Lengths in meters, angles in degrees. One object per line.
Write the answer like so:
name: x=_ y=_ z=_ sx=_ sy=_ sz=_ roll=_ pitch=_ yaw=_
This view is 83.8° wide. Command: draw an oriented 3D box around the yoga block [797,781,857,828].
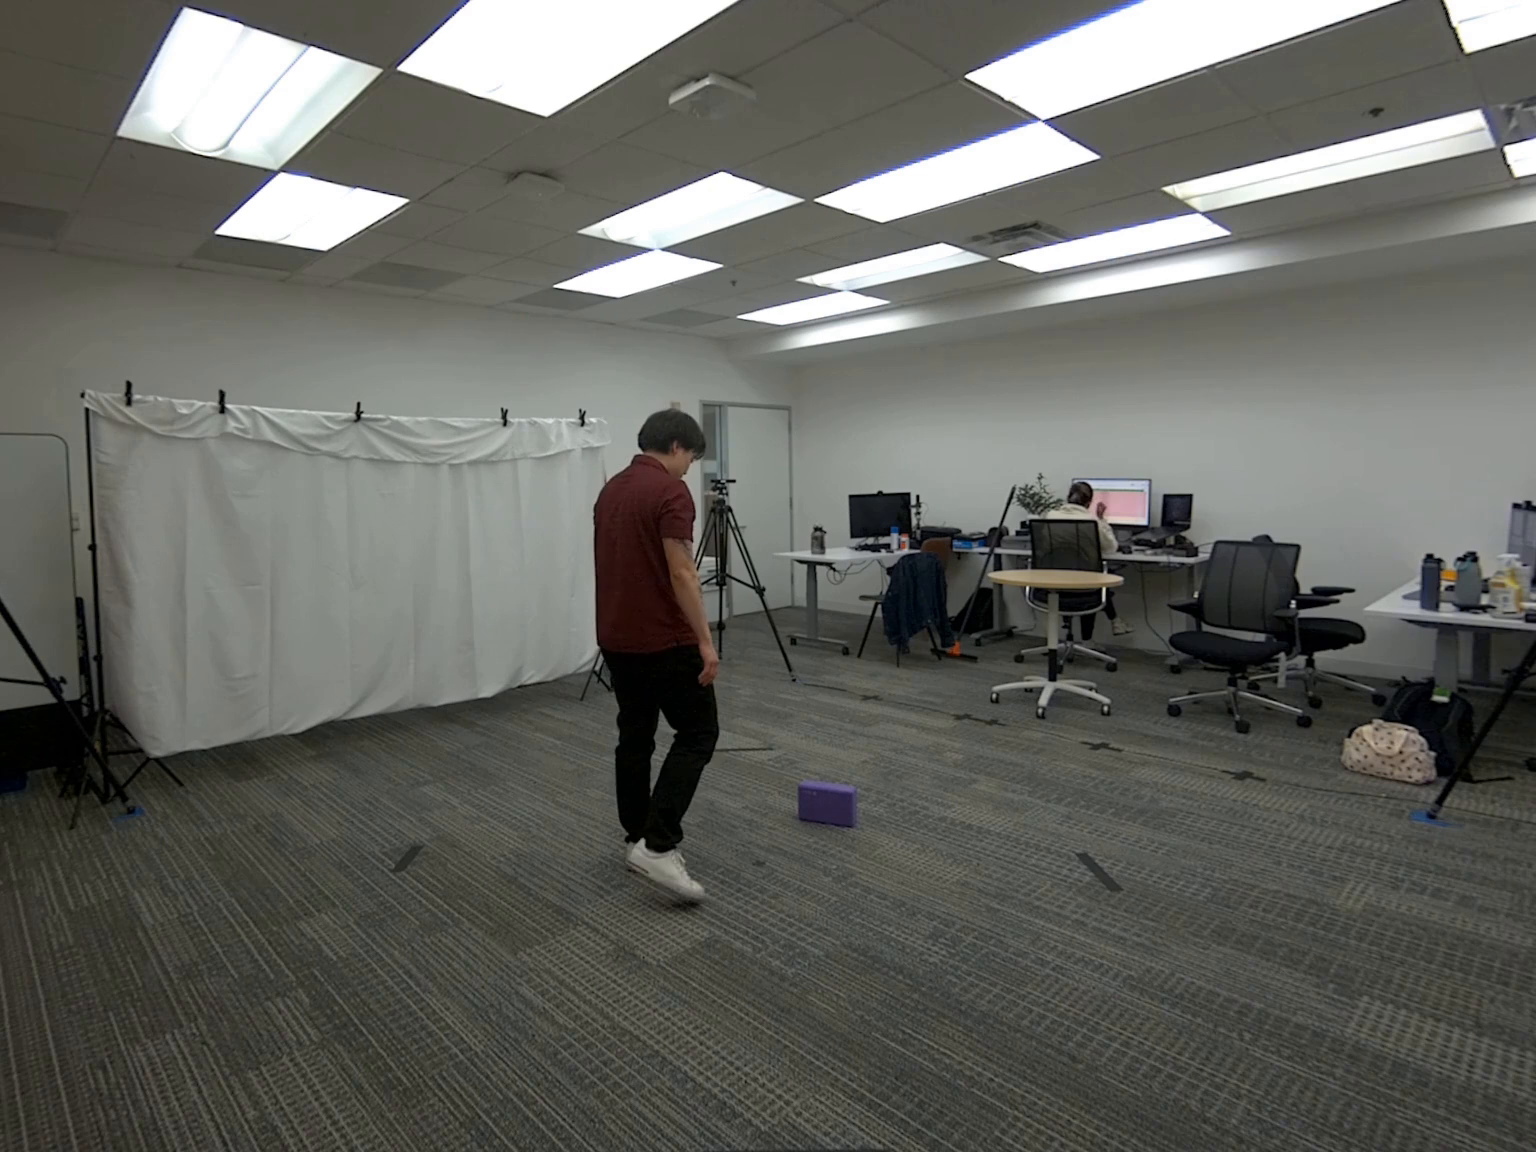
yoga block: x=0.243 y=0.923 z=3.481 sx=0.234 sy=0.148 sz=0.075 roll=2 pitch=4 yaw=23
